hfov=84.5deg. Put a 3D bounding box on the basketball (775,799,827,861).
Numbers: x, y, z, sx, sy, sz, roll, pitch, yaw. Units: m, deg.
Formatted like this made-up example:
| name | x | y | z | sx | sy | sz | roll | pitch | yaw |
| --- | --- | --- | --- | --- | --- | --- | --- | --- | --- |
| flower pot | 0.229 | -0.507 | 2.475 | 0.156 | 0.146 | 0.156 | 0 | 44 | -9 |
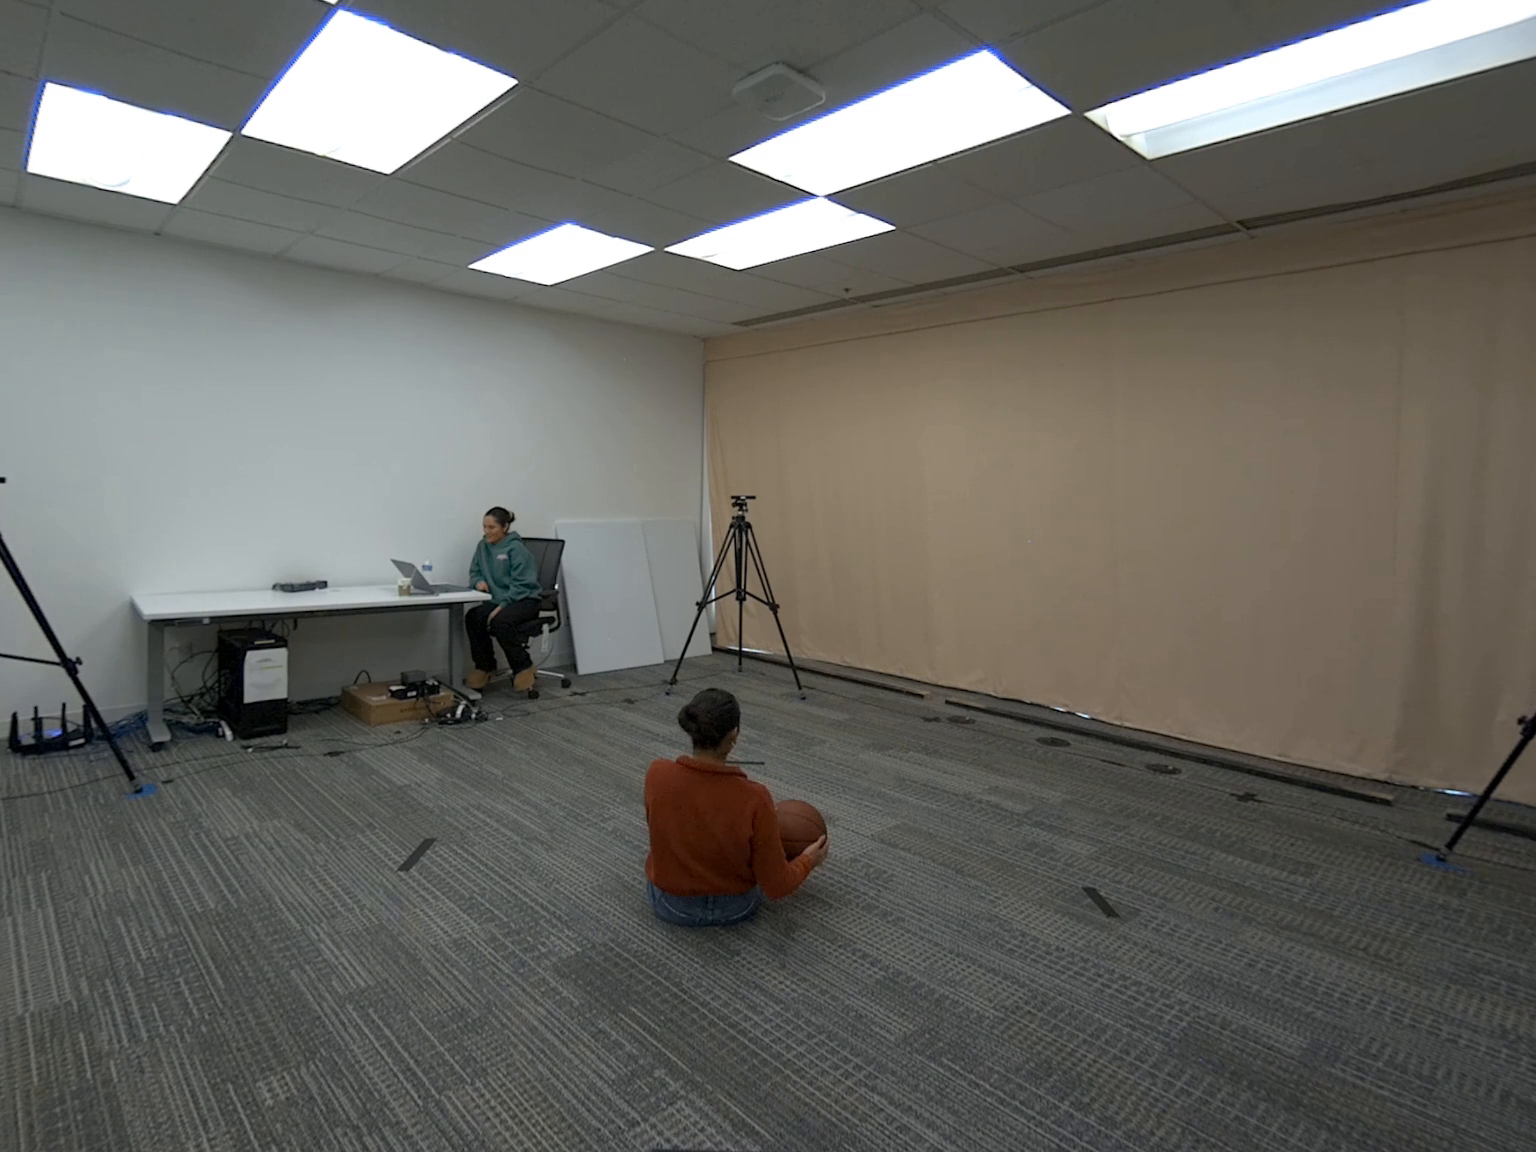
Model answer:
| name | x | y | z | sx | sy | sz | roll | pitch | yaw |
| --- | --- | --- | --- | --- | --- | --- | --- | --- | --- |
| basketball | 0.084 | 0.912 | 2.955 | 0.236 | 0.235 | 0.237 | 1 | 4 | -1 |
